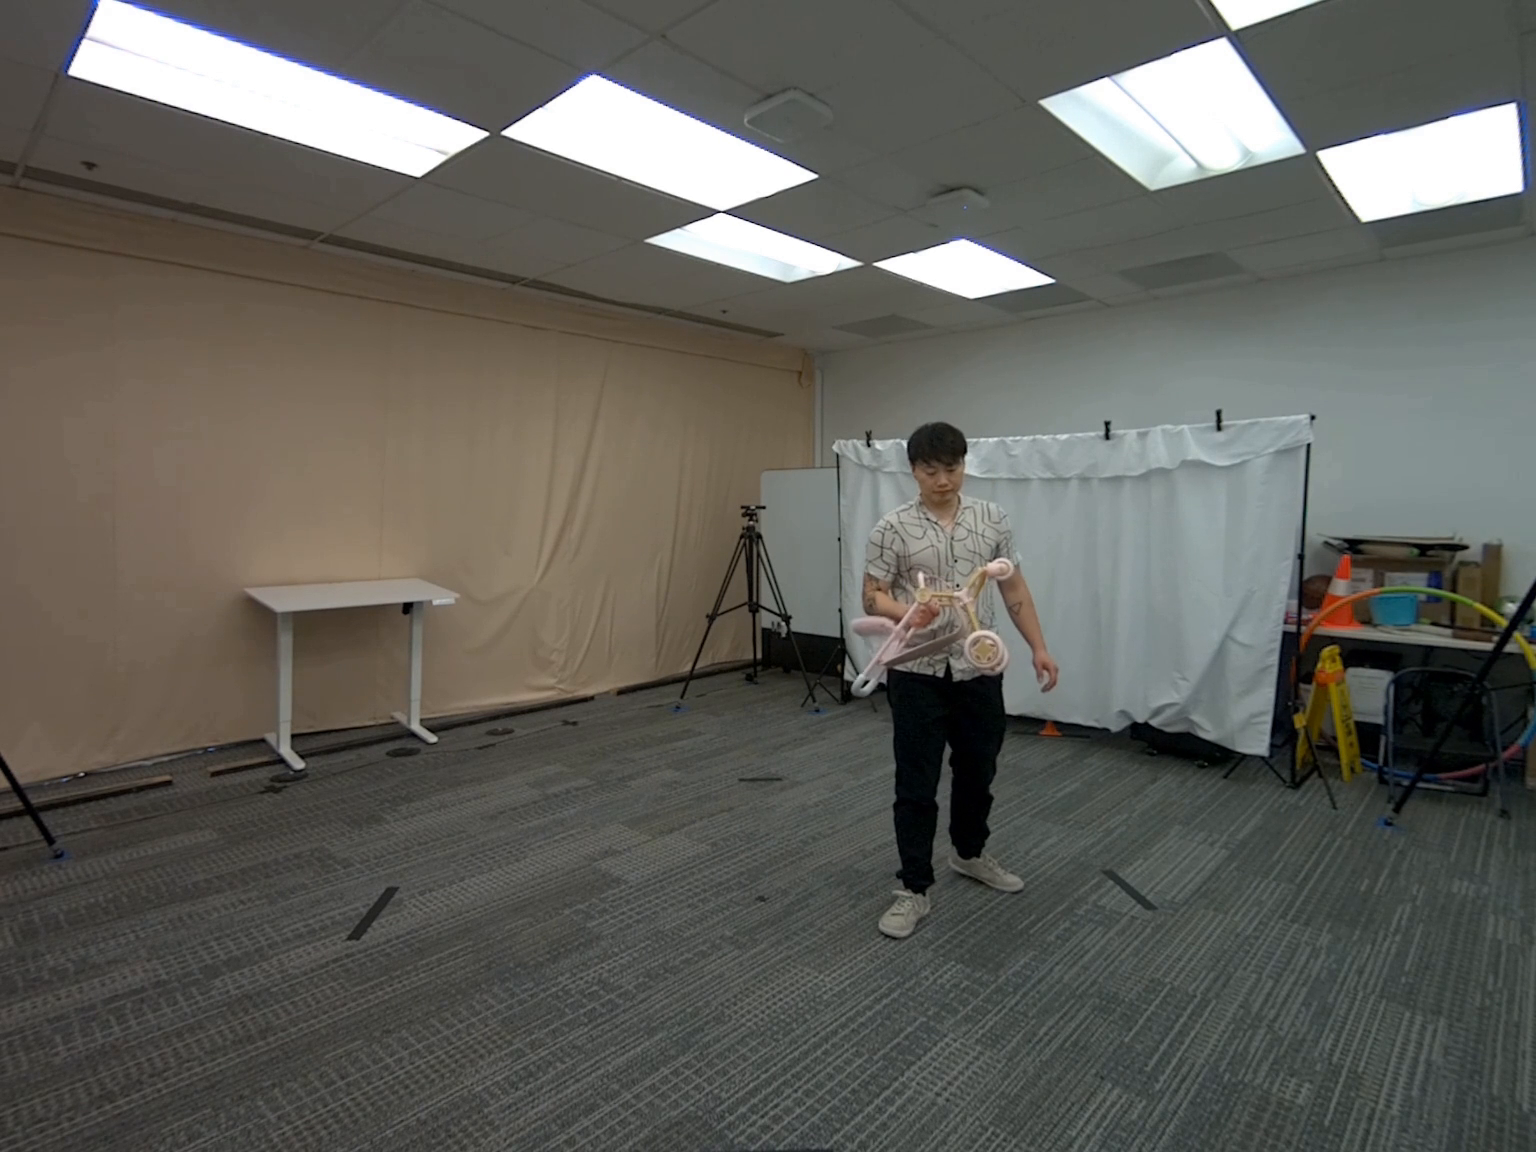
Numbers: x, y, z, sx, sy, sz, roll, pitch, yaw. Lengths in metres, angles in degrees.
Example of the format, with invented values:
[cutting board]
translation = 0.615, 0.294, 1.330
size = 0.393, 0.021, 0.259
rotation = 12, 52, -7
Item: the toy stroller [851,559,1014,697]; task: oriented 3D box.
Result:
[toy stroller]
translation = 0.495, 0.154, 2.541
size = 0.544, 0.344, 0.274
rotation = -13, -11, 19
